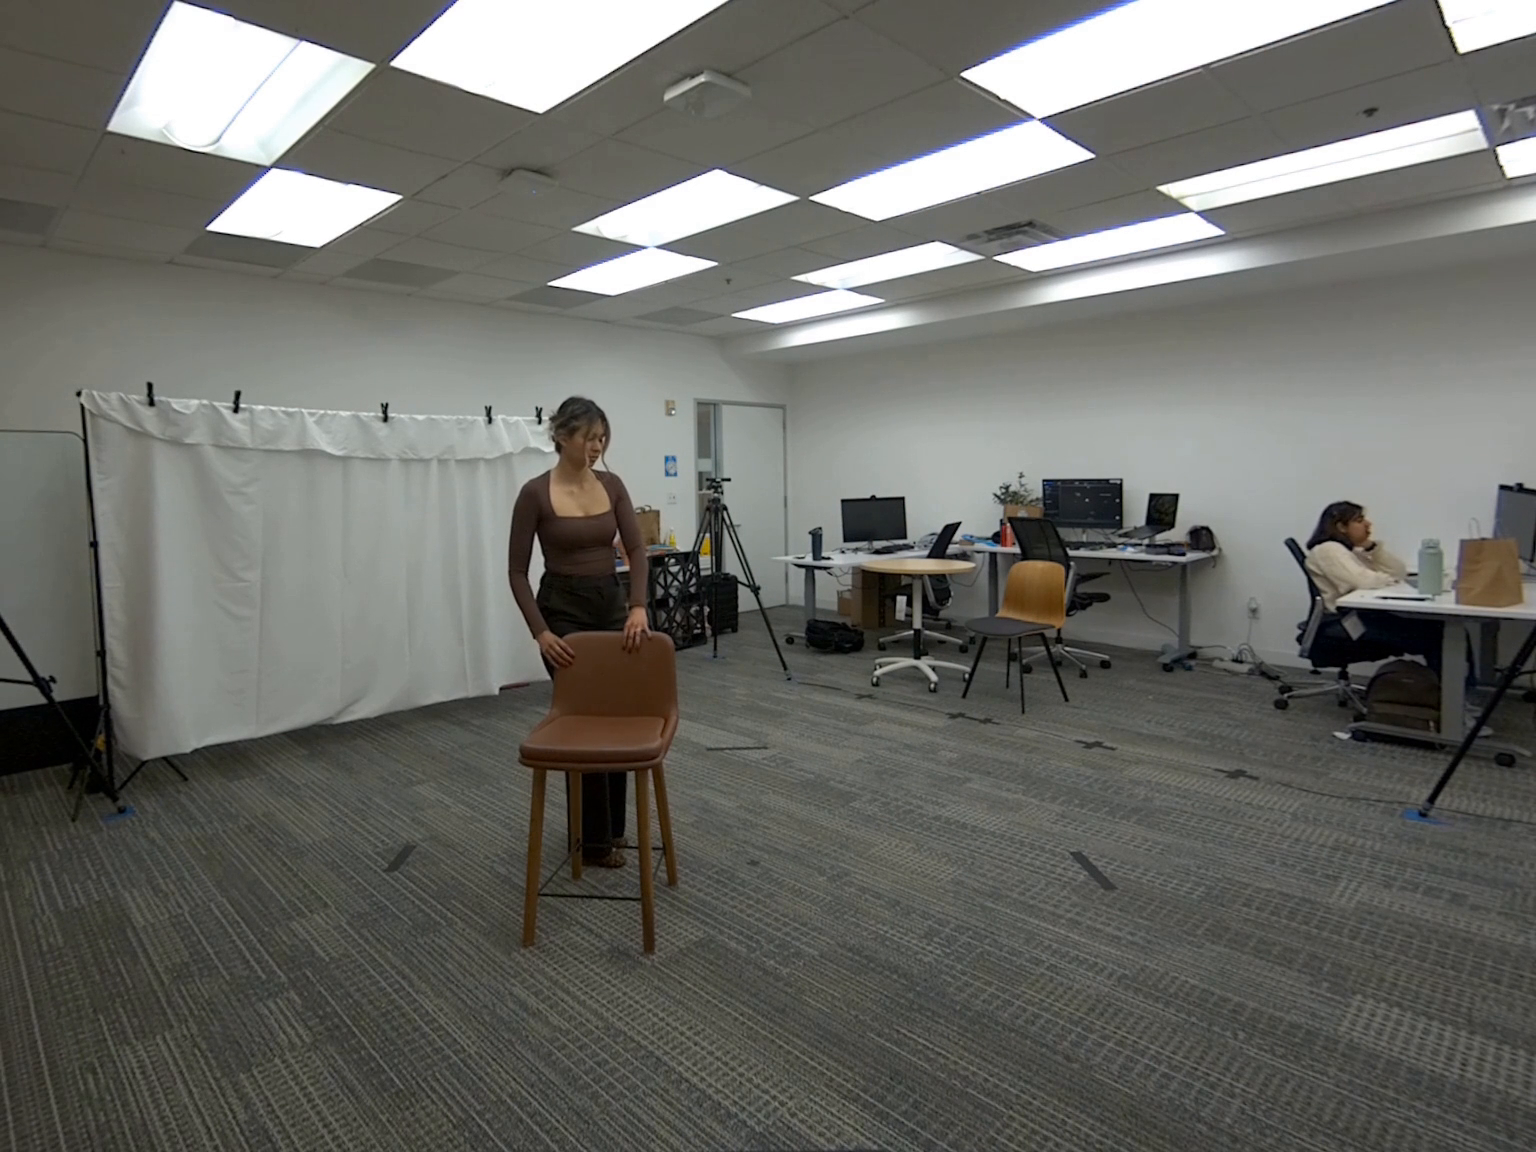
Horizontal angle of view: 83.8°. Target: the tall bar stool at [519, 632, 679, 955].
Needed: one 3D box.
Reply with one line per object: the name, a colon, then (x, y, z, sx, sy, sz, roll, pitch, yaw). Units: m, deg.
tall bar stool: (-0.529, 0.655, 2.752, 0.461, 0.888, 0.464, 0, 2, 9)
